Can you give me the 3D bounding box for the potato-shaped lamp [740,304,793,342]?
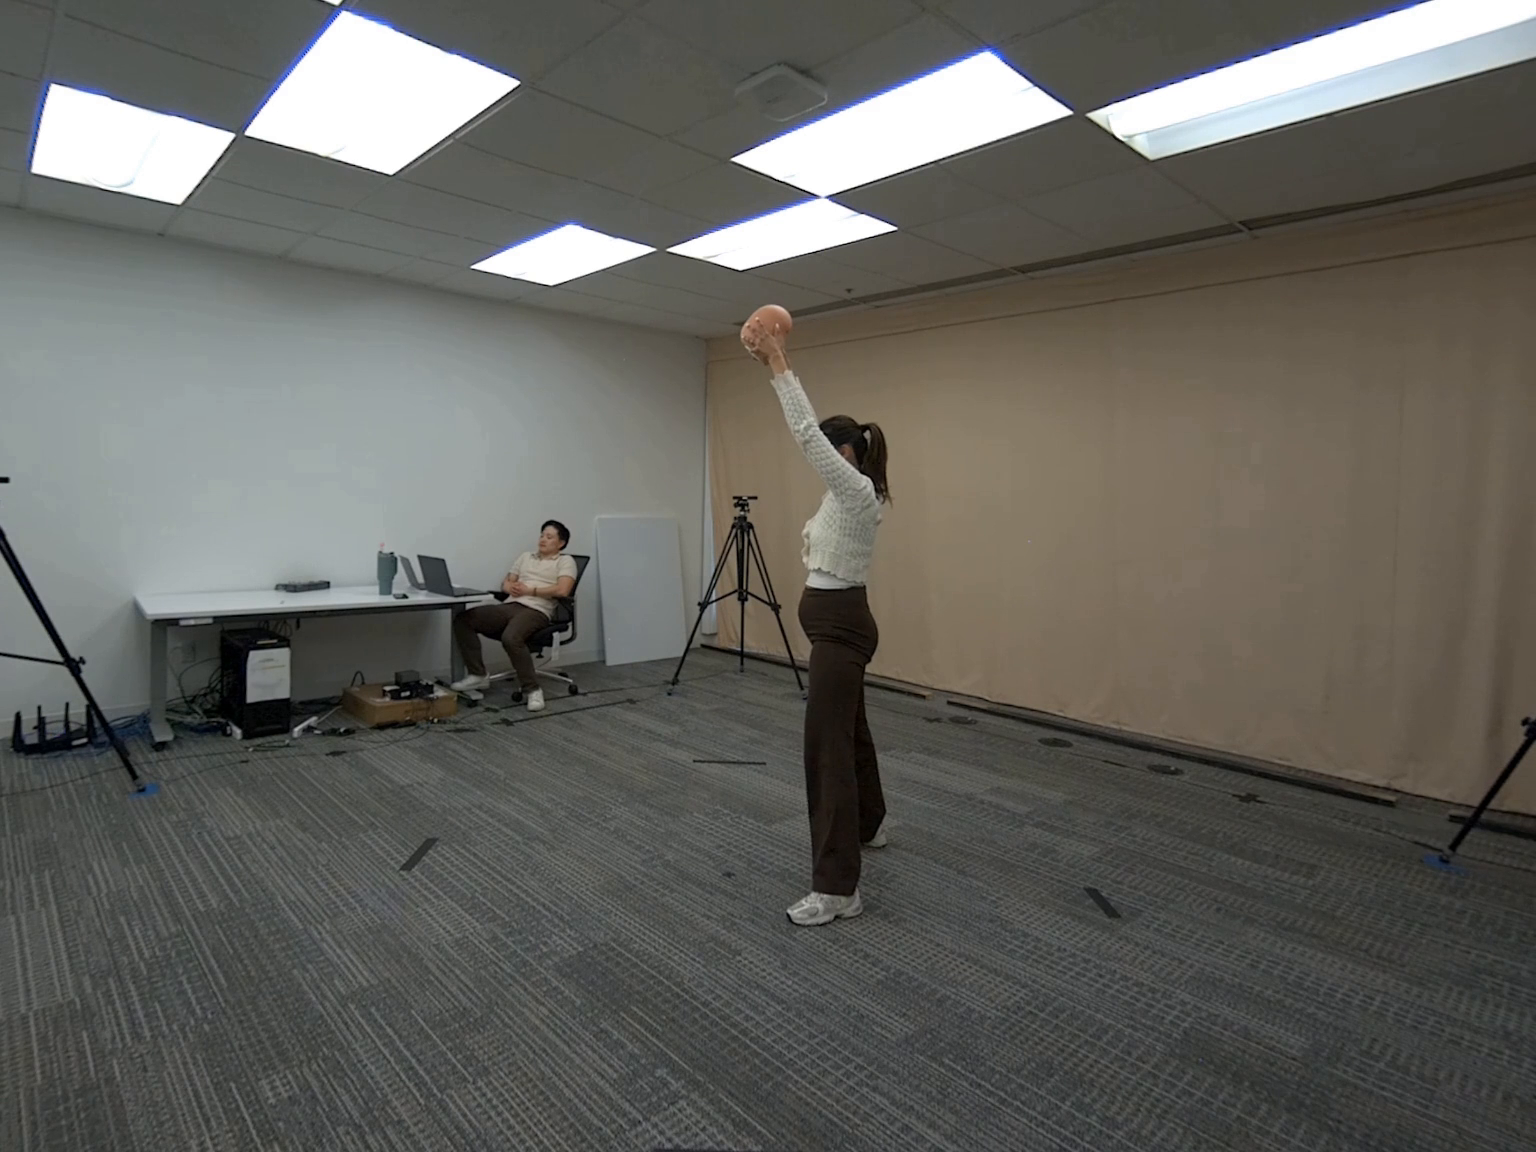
[{"bbox_3d":[-0.006,-0.899,3.108,0.173,0.198,0.163,41,3,6],"label":"potato-shaped lamp"}]
